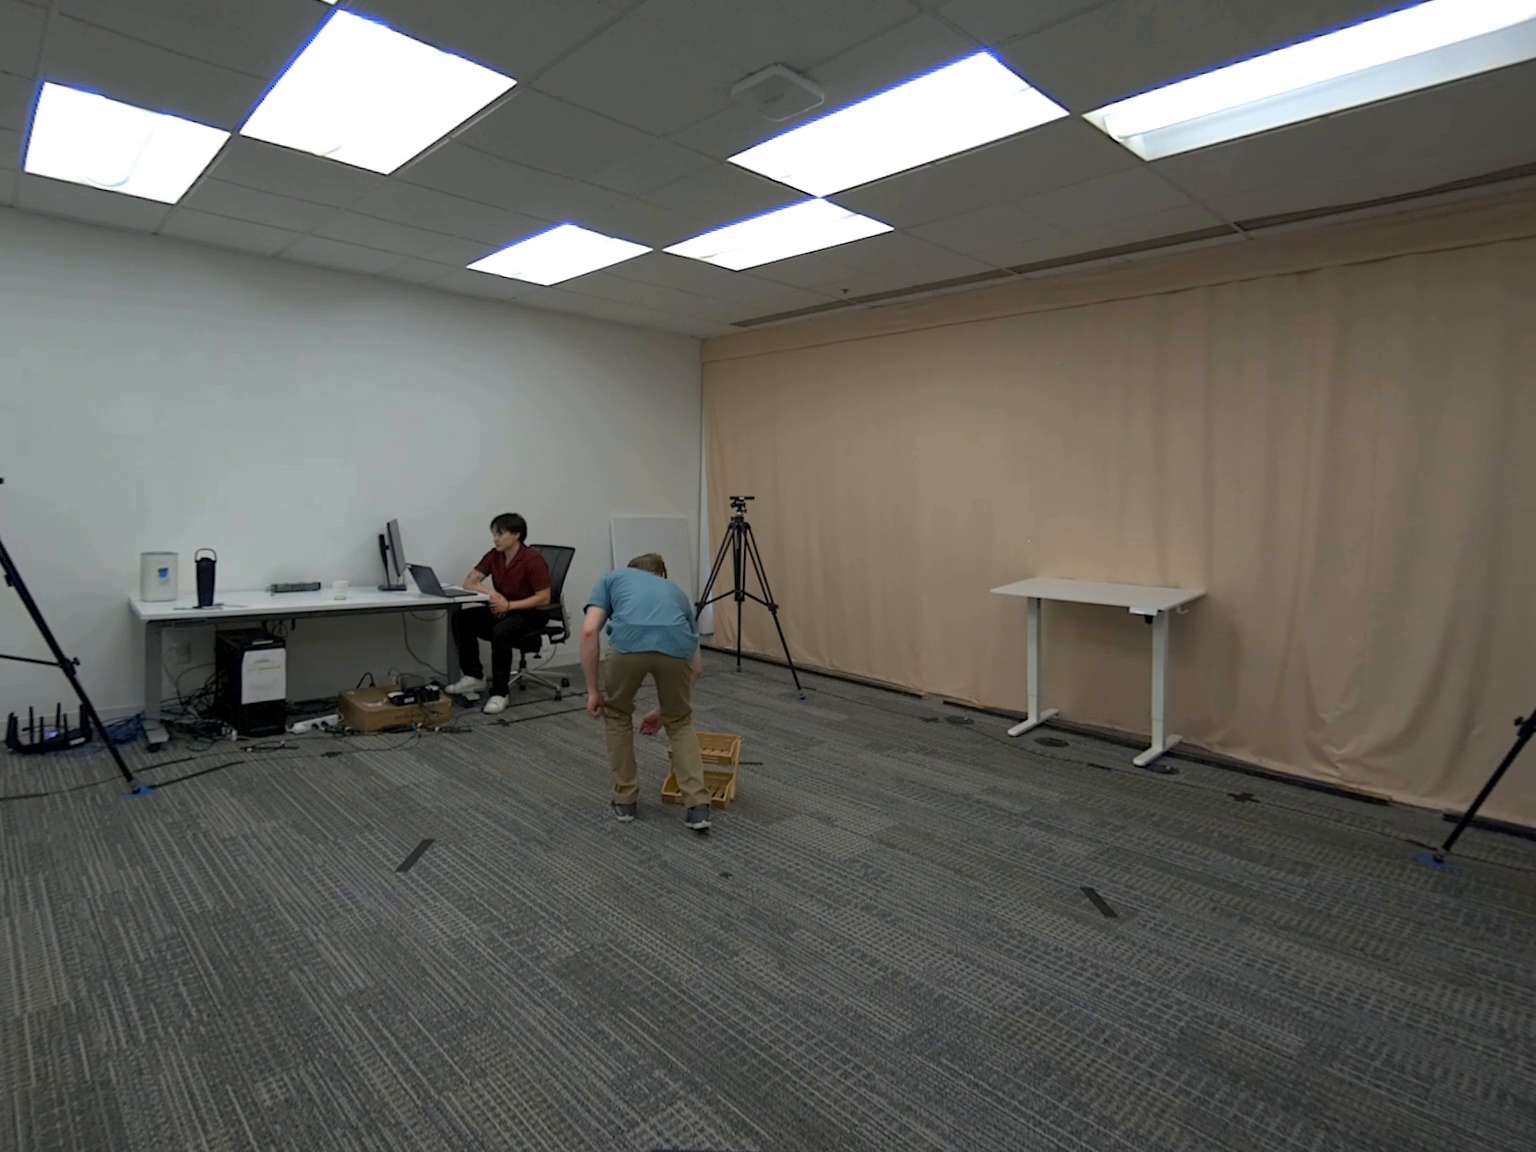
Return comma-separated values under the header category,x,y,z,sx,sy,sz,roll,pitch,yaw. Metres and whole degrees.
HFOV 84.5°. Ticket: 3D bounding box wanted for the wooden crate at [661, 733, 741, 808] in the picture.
category,x,y,z,sx,sy,sz,roll,pitch,yaw
wooden crate,-0.317,0.891,3.918,0.328,0.273,0.299,3,3,12
